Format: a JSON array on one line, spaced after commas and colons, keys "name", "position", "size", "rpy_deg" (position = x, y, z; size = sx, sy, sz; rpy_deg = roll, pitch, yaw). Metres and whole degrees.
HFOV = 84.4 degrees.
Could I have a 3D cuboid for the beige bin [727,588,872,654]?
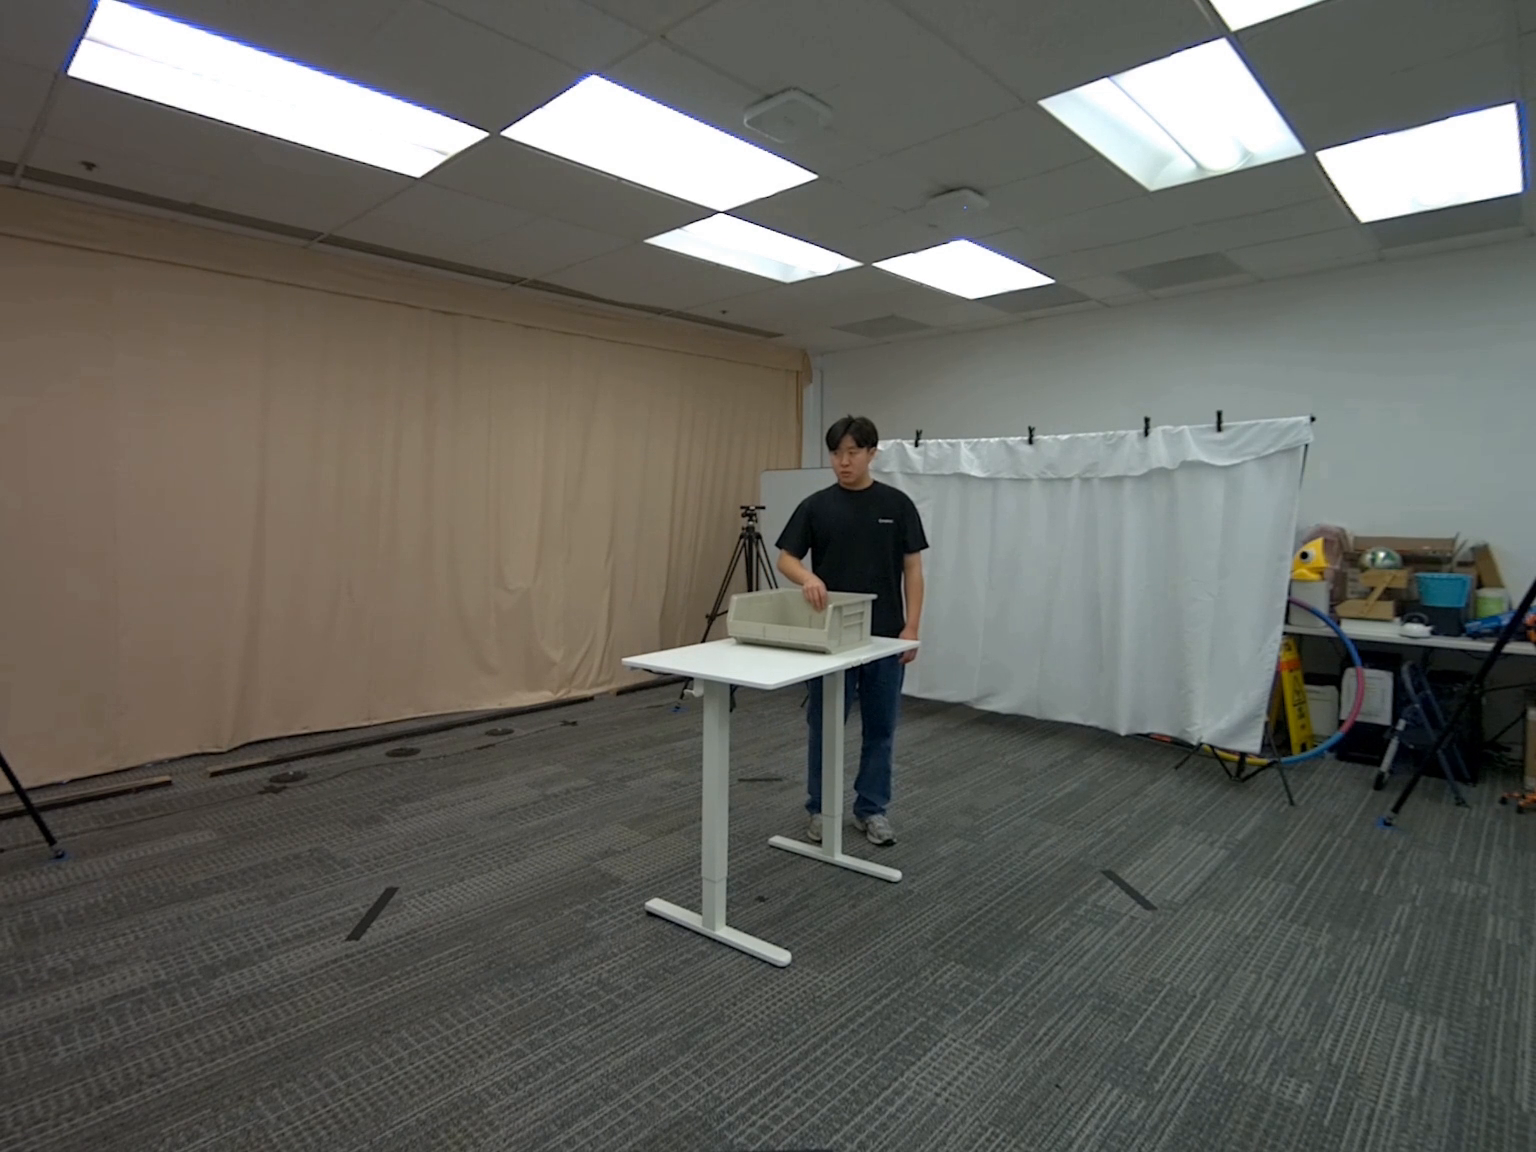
[{"name": "beige bin", "position": [0.128, 0.165, 3.103], "size": [0.435, 0.188, 0.366], "rpy_deg": [3, 4, 34]}]
